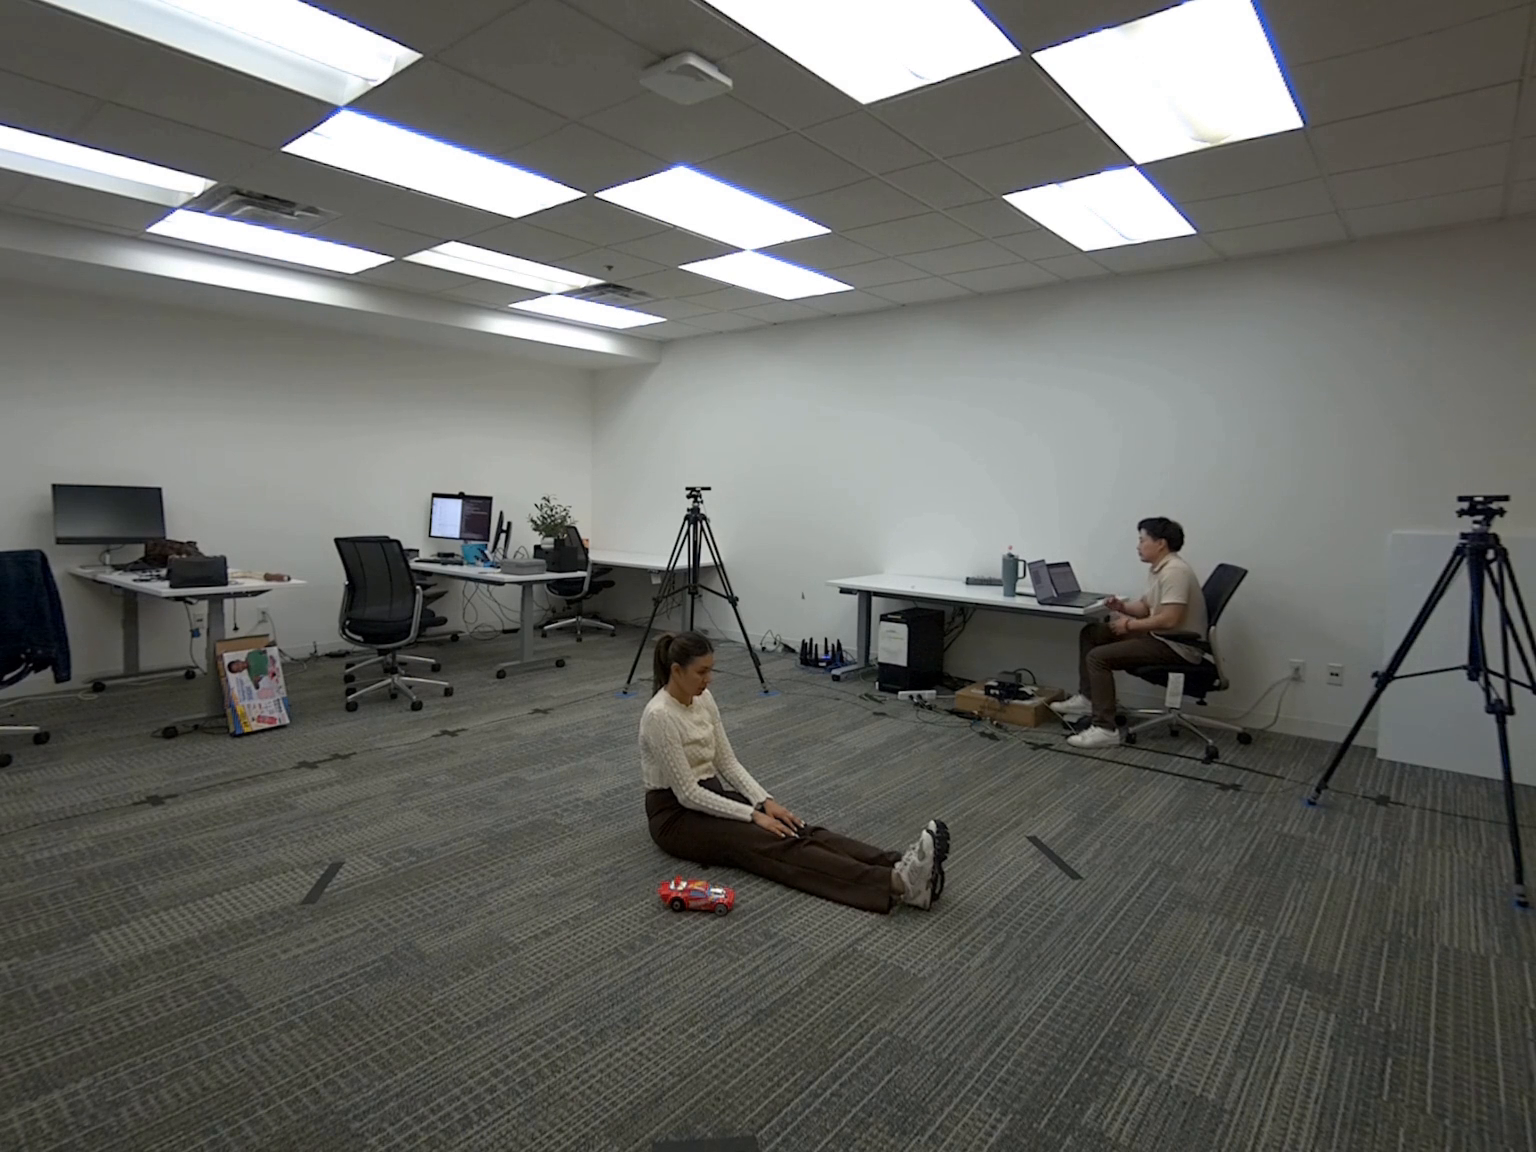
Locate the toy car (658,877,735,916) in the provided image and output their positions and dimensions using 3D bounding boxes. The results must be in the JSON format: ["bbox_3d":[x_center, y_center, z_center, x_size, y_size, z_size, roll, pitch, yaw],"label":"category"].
[{"bbox_3d":[-0.257,1.059,2.825,0.257,0.083,0.129,13,6,7],"label":"toy car"}]
